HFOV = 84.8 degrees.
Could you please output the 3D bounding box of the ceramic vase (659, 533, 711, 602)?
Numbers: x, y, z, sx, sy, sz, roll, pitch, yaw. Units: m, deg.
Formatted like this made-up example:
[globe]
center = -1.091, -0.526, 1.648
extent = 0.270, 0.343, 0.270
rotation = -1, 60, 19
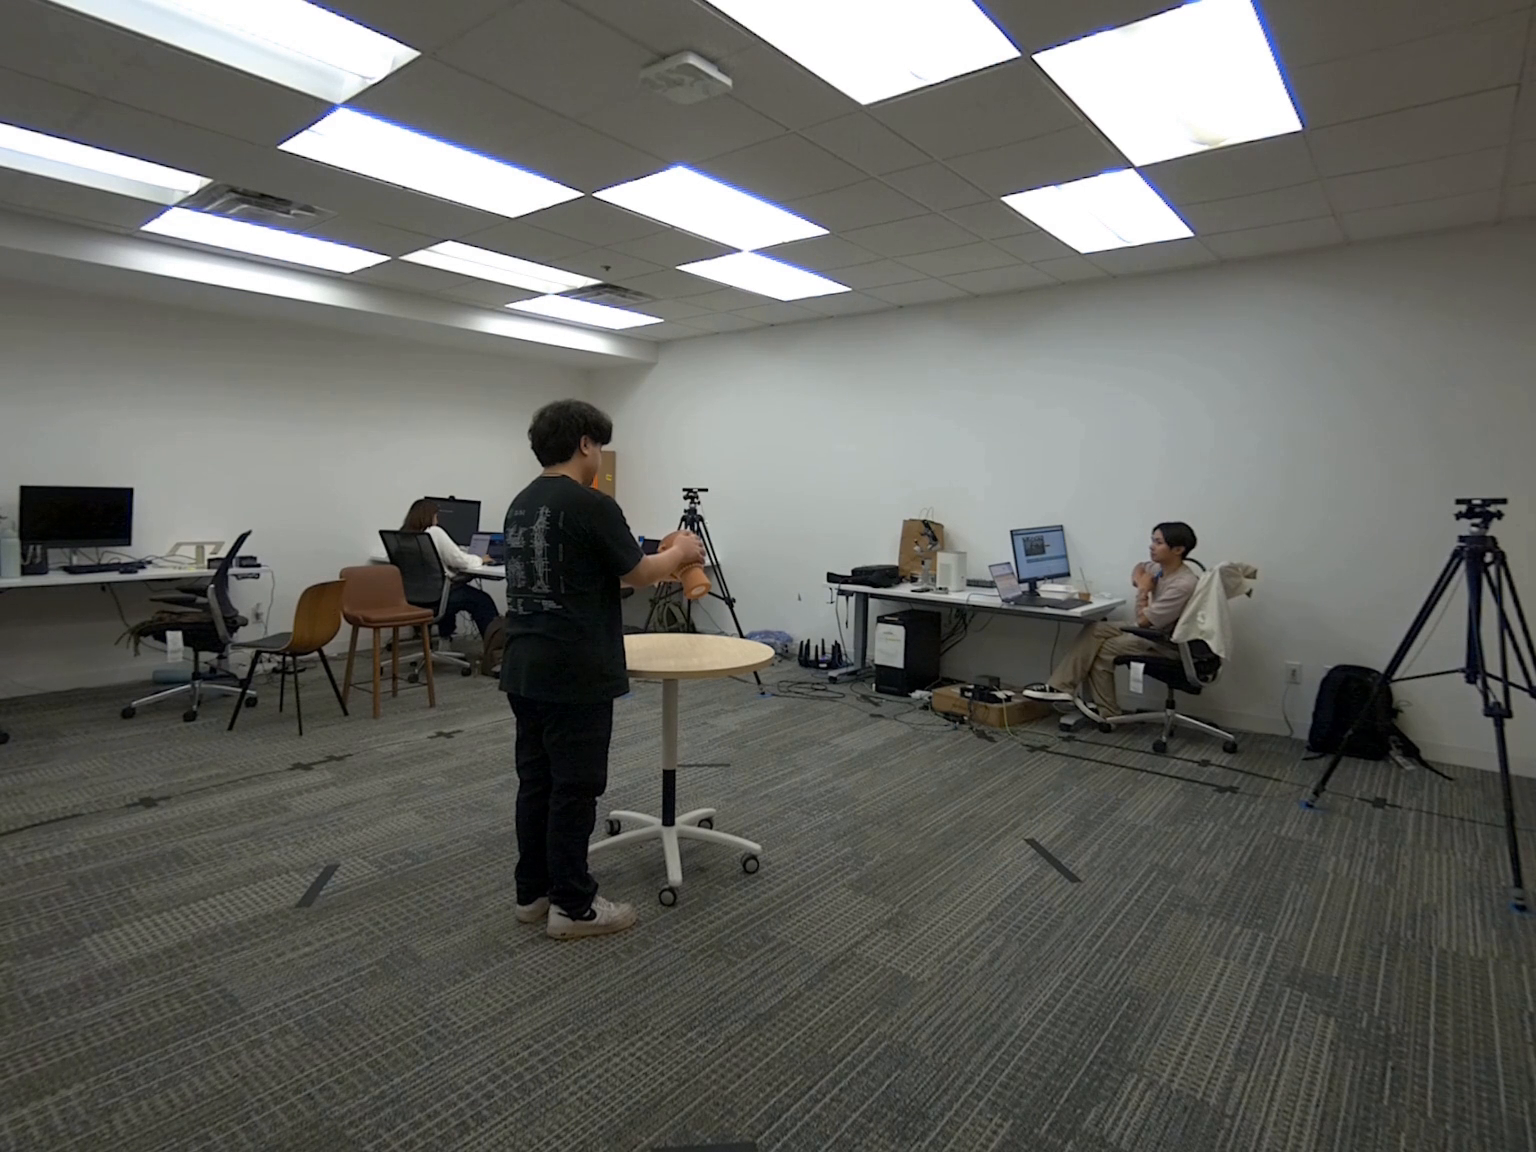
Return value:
[ceramic vase]
center = -0.298, -0.038, 2.984
extent = 0.158, 0.227, 0.131
rotation = -23, -27, -5
